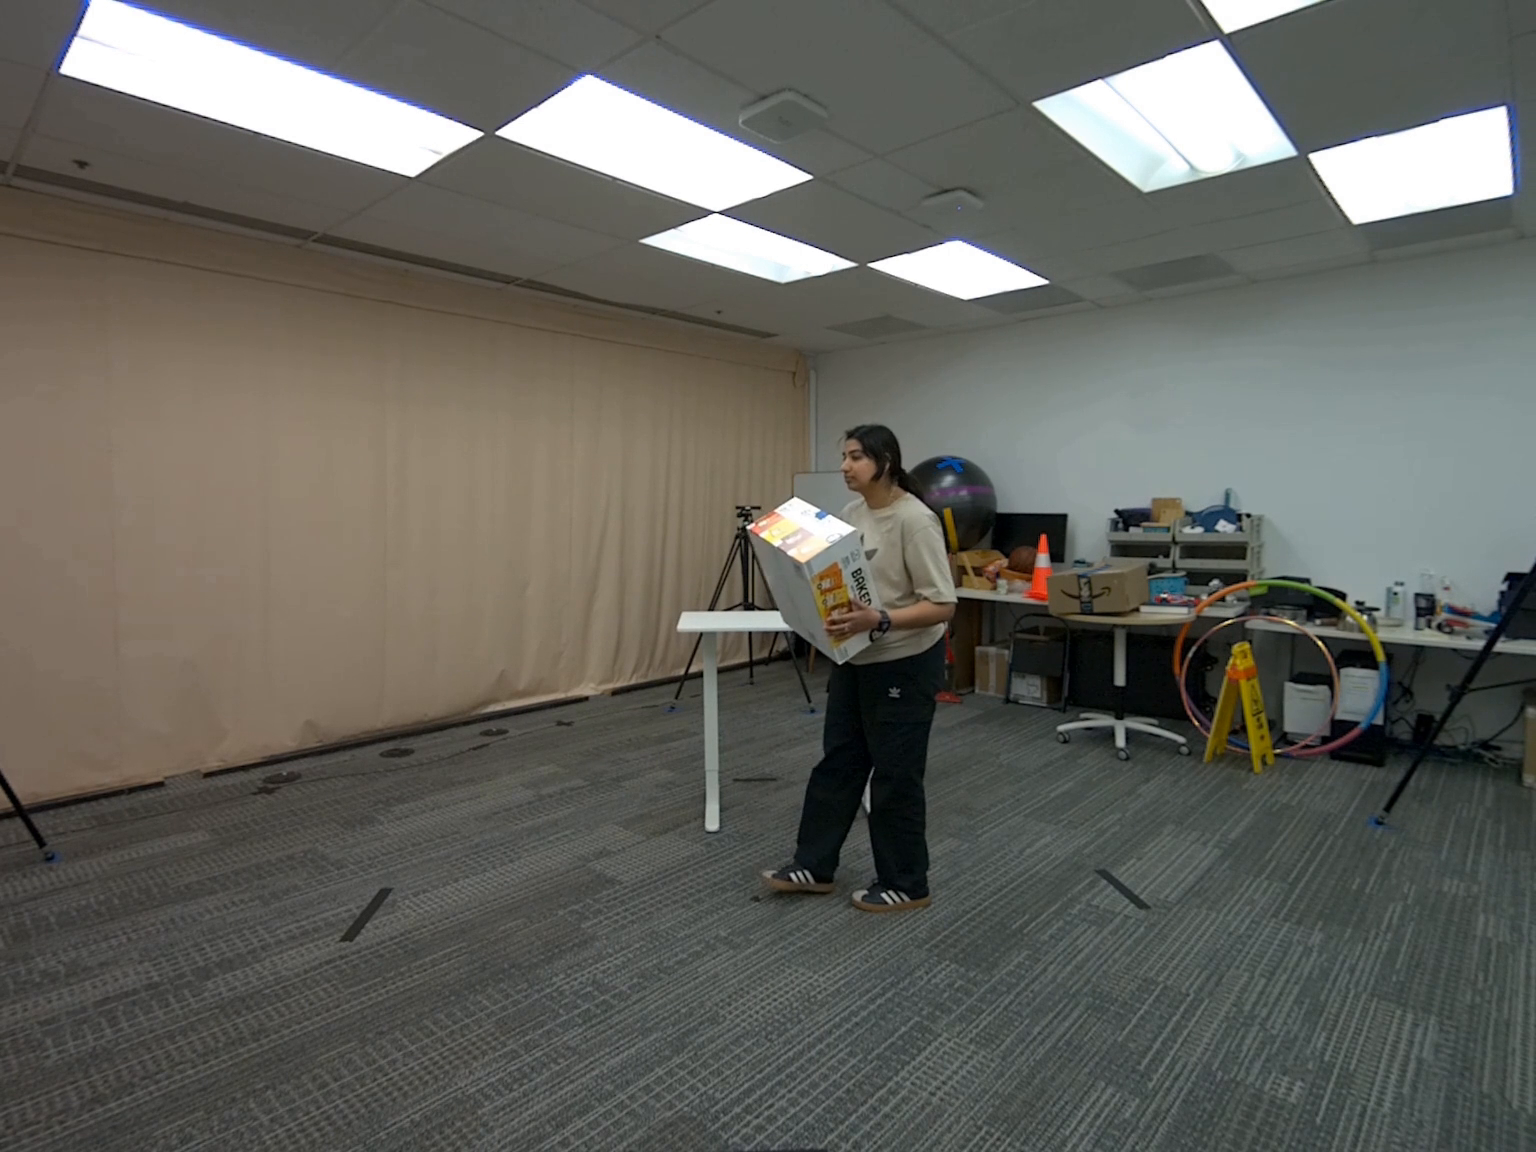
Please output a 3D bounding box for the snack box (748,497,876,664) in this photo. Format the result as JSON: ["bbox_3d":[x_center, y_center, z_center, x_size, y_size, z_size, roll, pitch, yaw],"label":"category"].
[{"bbox_3d":[0.151,0.006,2.671,0.204,0.395,0.352,-30,31,-15],"label":"snack box"}]
